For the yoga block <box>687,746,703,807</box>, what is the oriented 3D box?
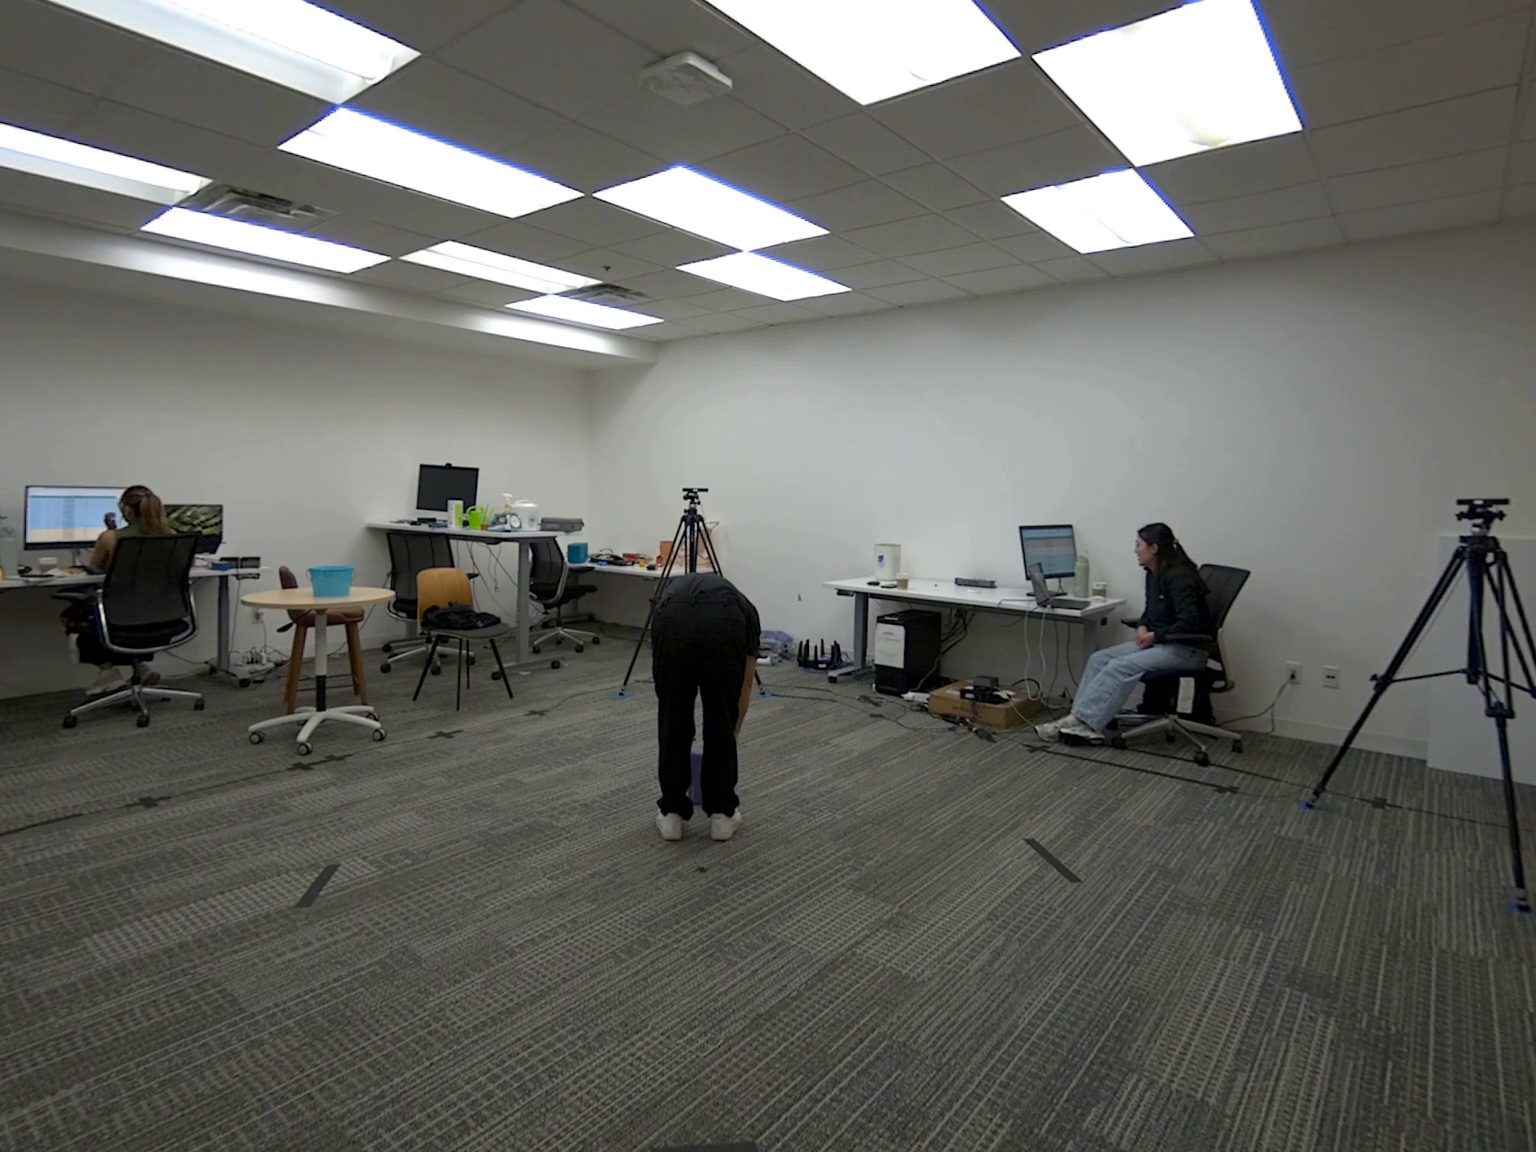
[{"bbox_3d":[-0.284,0.886,3.761,0.150,0.229,0.076,2,2,5],"label":"yoga block"}]
